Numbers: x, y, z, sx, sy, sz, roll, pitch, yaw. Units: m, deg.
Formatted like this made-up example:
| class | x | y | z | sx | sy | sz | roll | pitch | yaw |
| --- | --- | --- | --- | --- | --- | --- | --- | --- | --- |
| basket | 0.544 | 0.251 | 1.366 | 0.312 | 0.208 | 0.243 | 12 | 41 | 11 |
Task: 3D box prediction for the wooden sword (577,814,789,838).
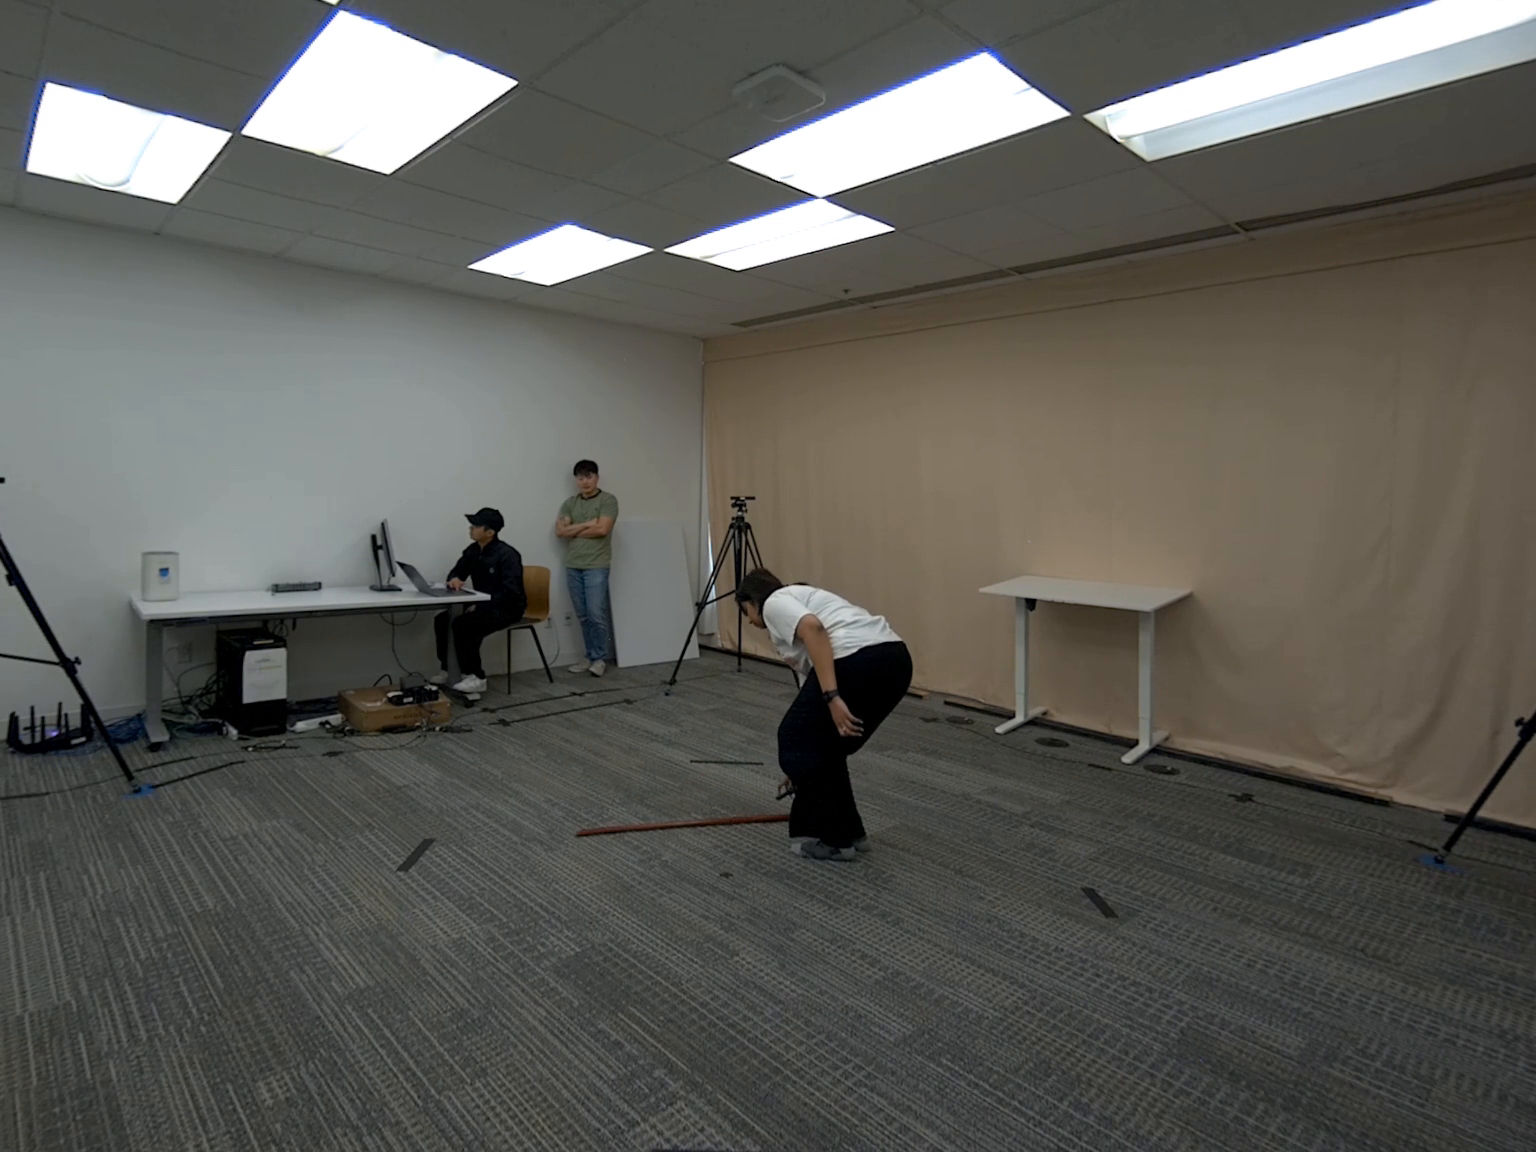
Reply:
| class | x | y | z | sx | sy | sz | roll | pitch | yaw |
| --- | --- | --- | --- | --- | --- | --- | --- | --- | --- |
| wooden sword | -0.305 | 1.029 | 3.562 | 1.012 | 0.052 | 0.024 | -1 | -11 | -16 |
